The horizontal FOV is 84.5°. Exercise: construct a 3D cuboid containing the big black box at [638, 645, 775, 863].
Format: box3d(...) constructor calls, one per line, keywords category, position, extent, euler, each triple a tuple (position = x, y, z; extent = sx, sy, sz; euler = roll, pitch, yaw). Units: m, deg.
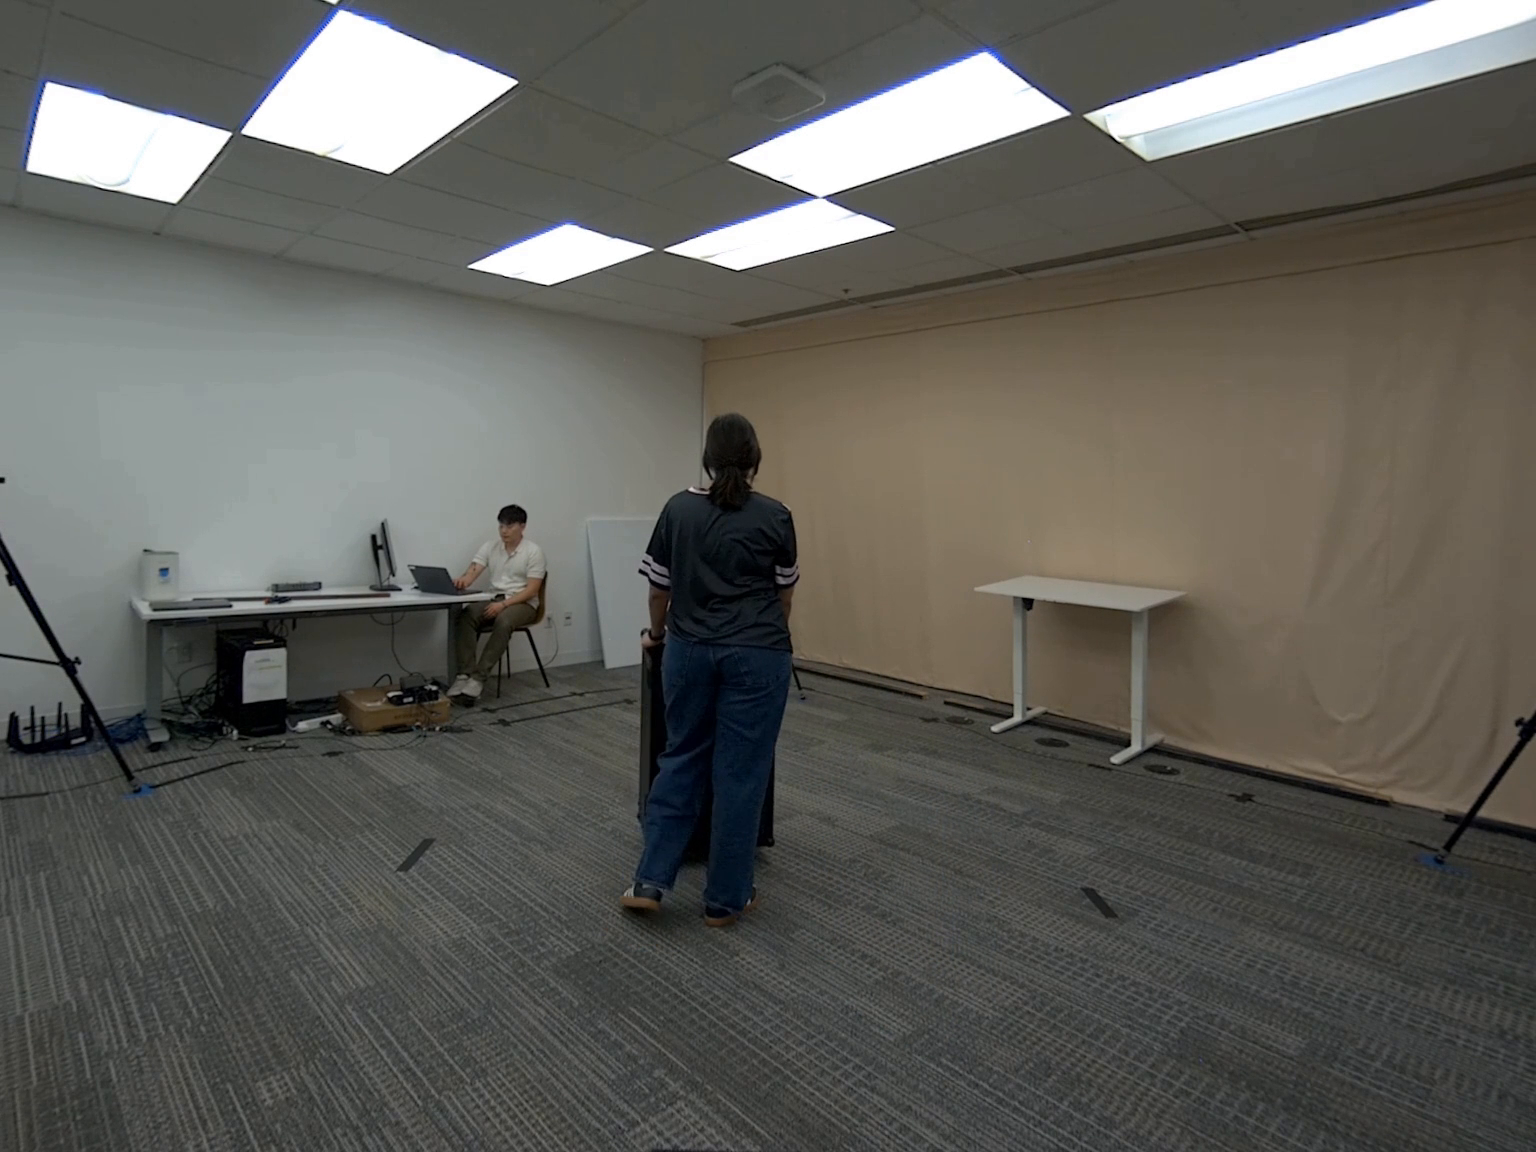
box3d(category="big black box", position=(-0.257, 0.663, 3.313), extent=(0.518, 0.867, 0.390), euler=(1, 2, -13))
